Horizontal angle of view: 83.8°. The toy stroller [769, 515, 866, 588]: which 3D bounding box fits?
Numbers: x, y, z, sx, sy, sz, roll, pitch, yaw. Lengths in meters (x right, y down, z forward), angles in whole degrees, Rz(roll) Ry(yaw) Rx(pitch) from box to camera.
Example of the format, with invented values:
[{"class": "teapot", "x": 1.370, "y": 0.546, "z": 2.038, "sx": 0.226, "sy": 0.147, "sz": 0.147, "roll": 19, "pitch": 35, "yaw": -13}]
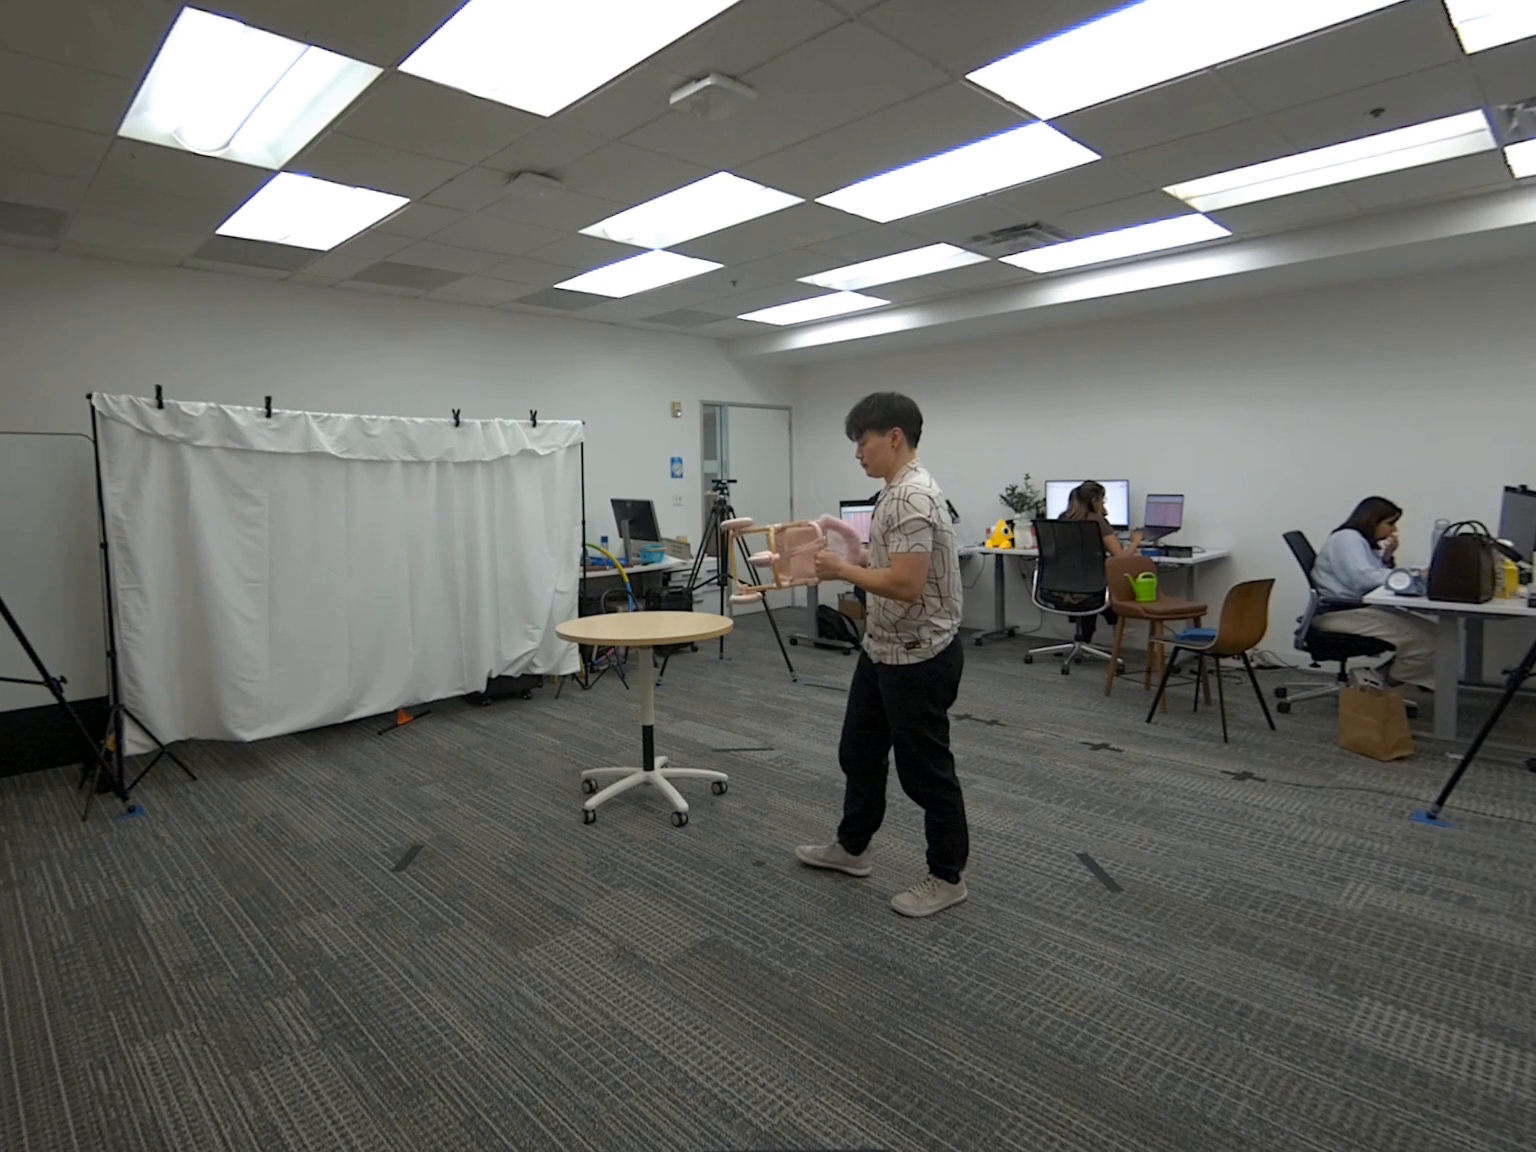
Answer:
[{"class": "toy stroller", "x": 0.098, "y": -0.077, "z": 2.825, "sx": 0.523, "sy": 0.282, "sz": 0.348, "roll": -8, "pitch": -2, "yaw": -34}]
